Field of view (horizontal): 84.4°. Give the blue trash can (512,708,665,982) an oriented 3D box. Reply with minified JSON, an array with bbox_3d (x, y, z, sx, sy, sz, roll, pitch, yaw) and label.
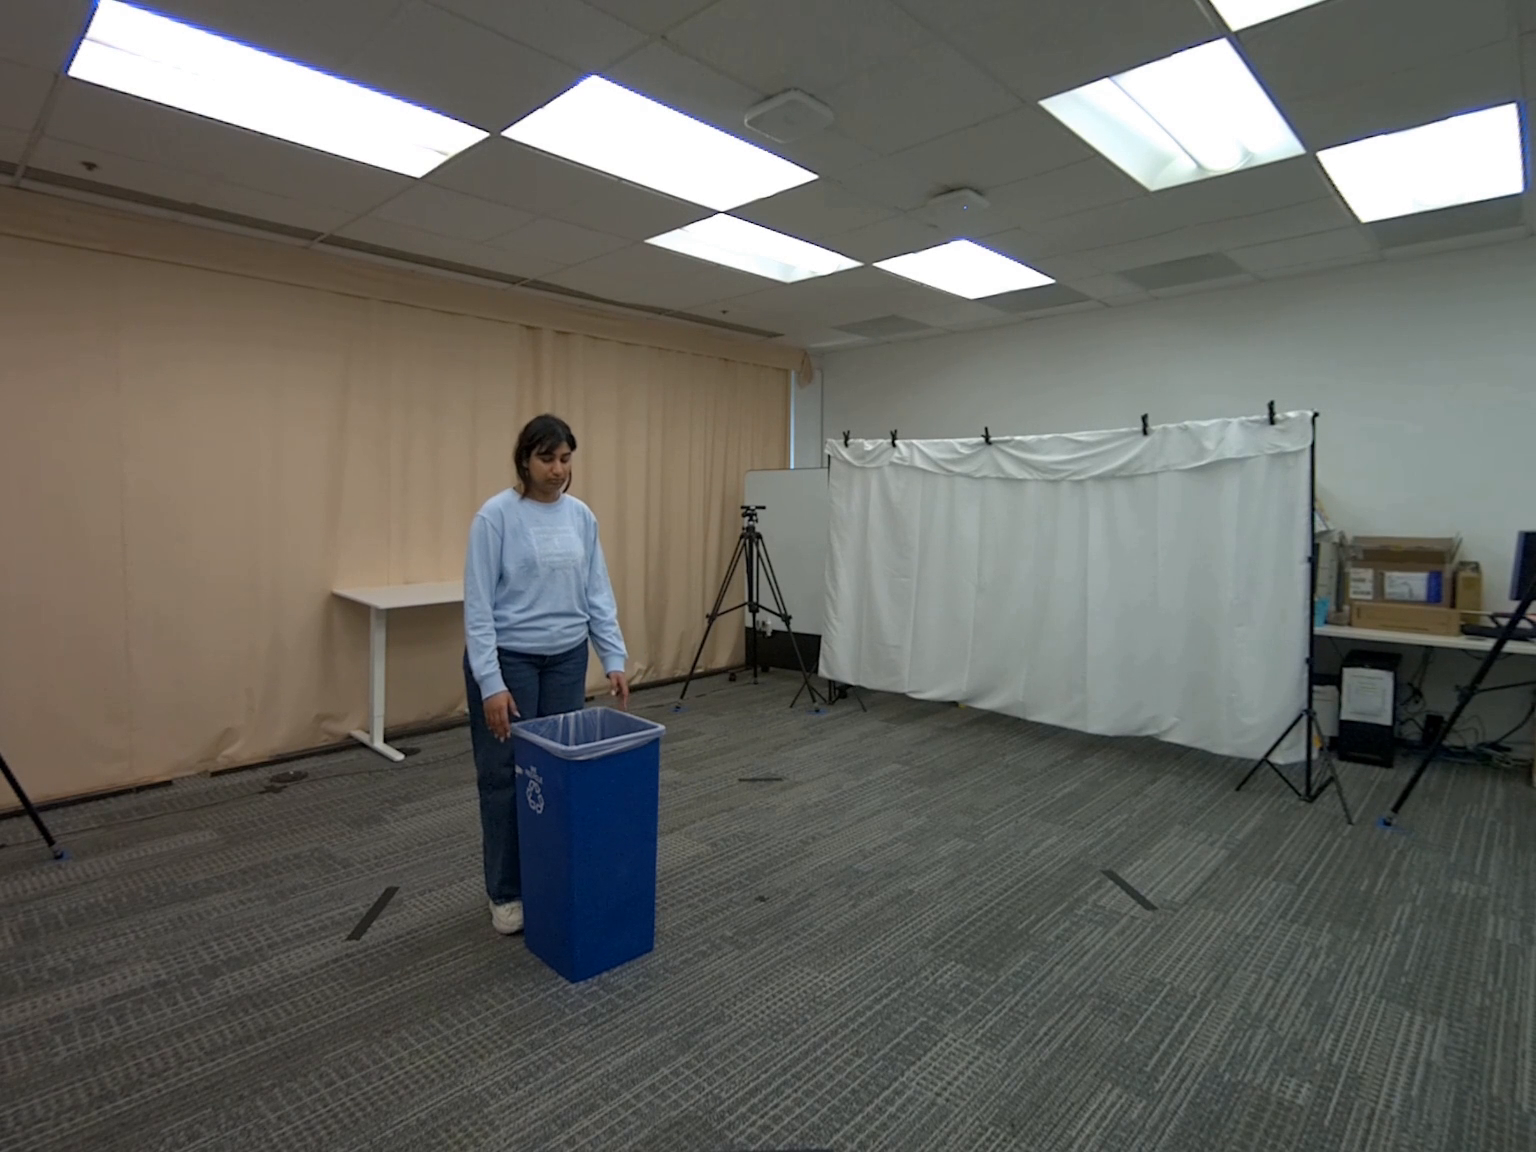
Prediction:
[{"bbox_3d":[-0.558,0.822,2.634,0.366,0.712,0.386,-4,5,-43],"label":"blue trash can"}]
